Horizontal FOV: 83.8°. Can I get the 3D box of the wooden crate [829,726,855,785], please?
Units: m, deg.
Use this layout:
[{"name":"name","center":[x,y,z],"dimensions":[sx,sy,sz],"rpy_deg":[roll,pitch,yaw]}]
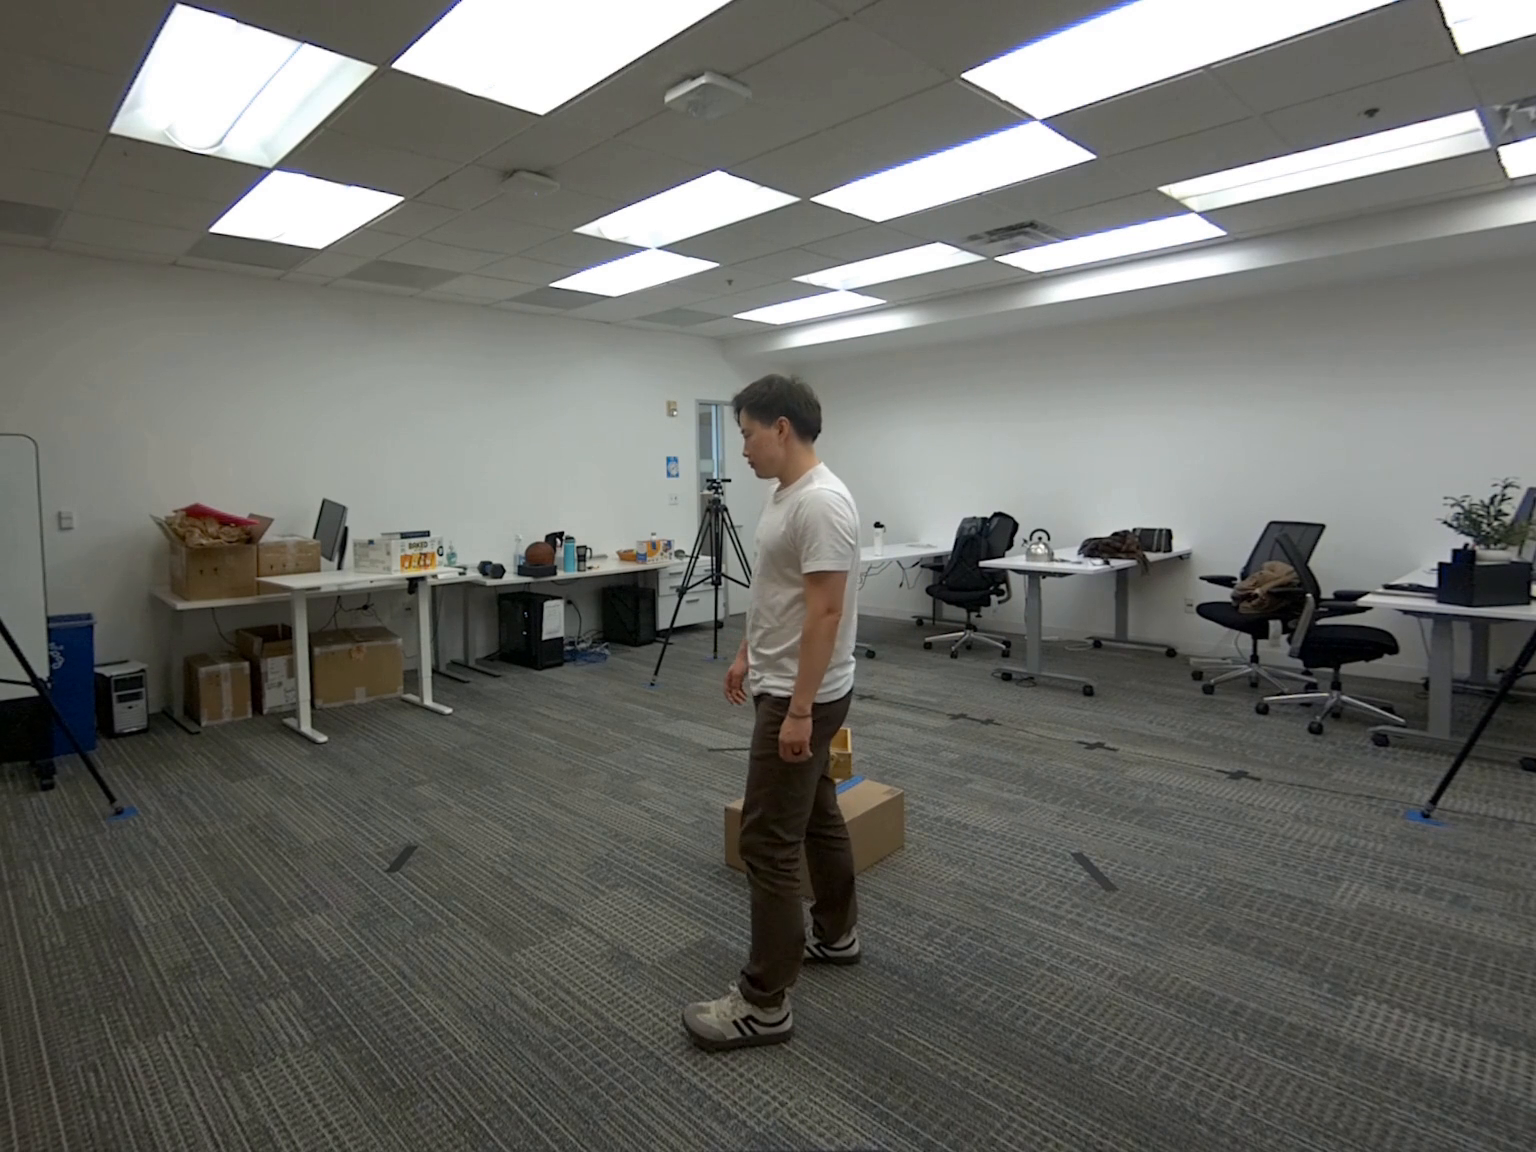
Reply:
[{"name":"wooden crate","center":[0.143,0.698,3.044],"dimensions":[0.304,0.272,0.323],"rpy_deg":[0,4,6]}]
